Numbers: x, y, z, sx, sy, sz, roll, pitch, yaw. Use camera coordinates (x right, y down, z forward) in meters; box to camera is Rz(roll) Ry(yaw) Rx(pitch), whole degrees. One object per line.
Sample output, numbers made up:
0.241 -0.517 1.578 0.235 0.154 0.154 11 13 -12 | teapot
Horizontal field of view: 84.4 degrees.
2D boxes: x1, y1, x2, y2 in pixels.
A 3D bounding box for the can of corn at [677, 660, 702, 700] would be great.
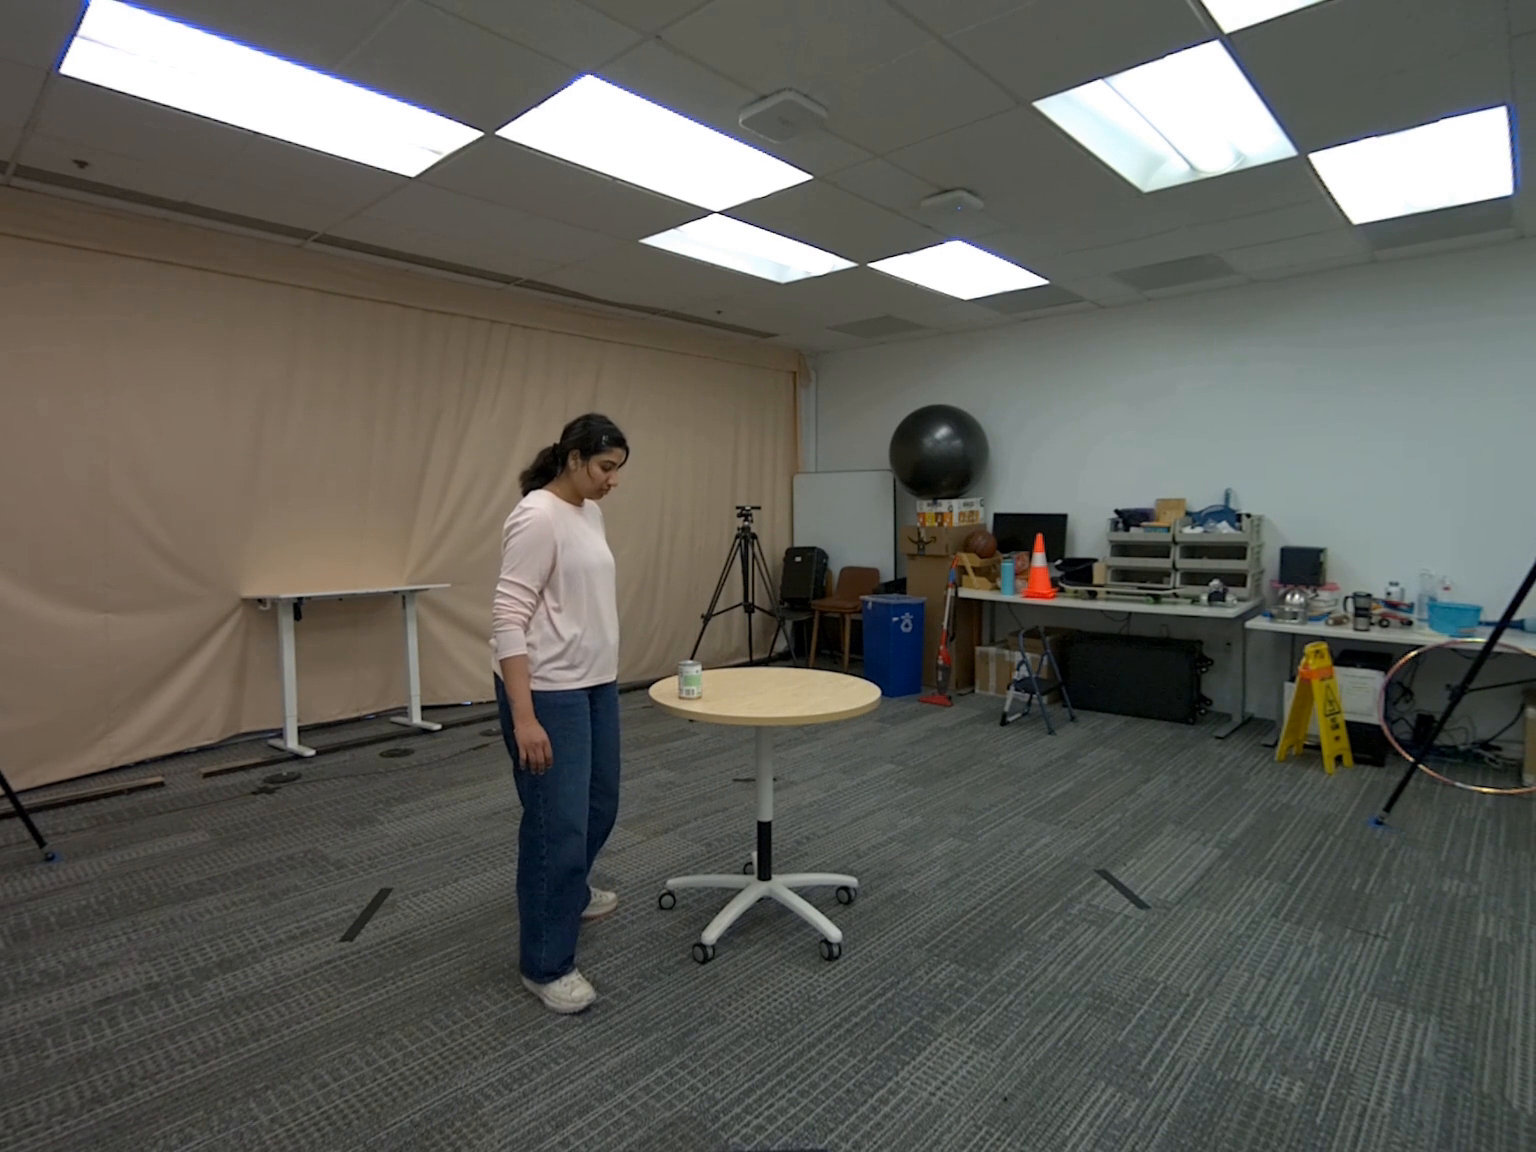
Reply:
-0.242 0.334 2.660 0.074 0.110 0.074 -3 7 -1 | can of corn
